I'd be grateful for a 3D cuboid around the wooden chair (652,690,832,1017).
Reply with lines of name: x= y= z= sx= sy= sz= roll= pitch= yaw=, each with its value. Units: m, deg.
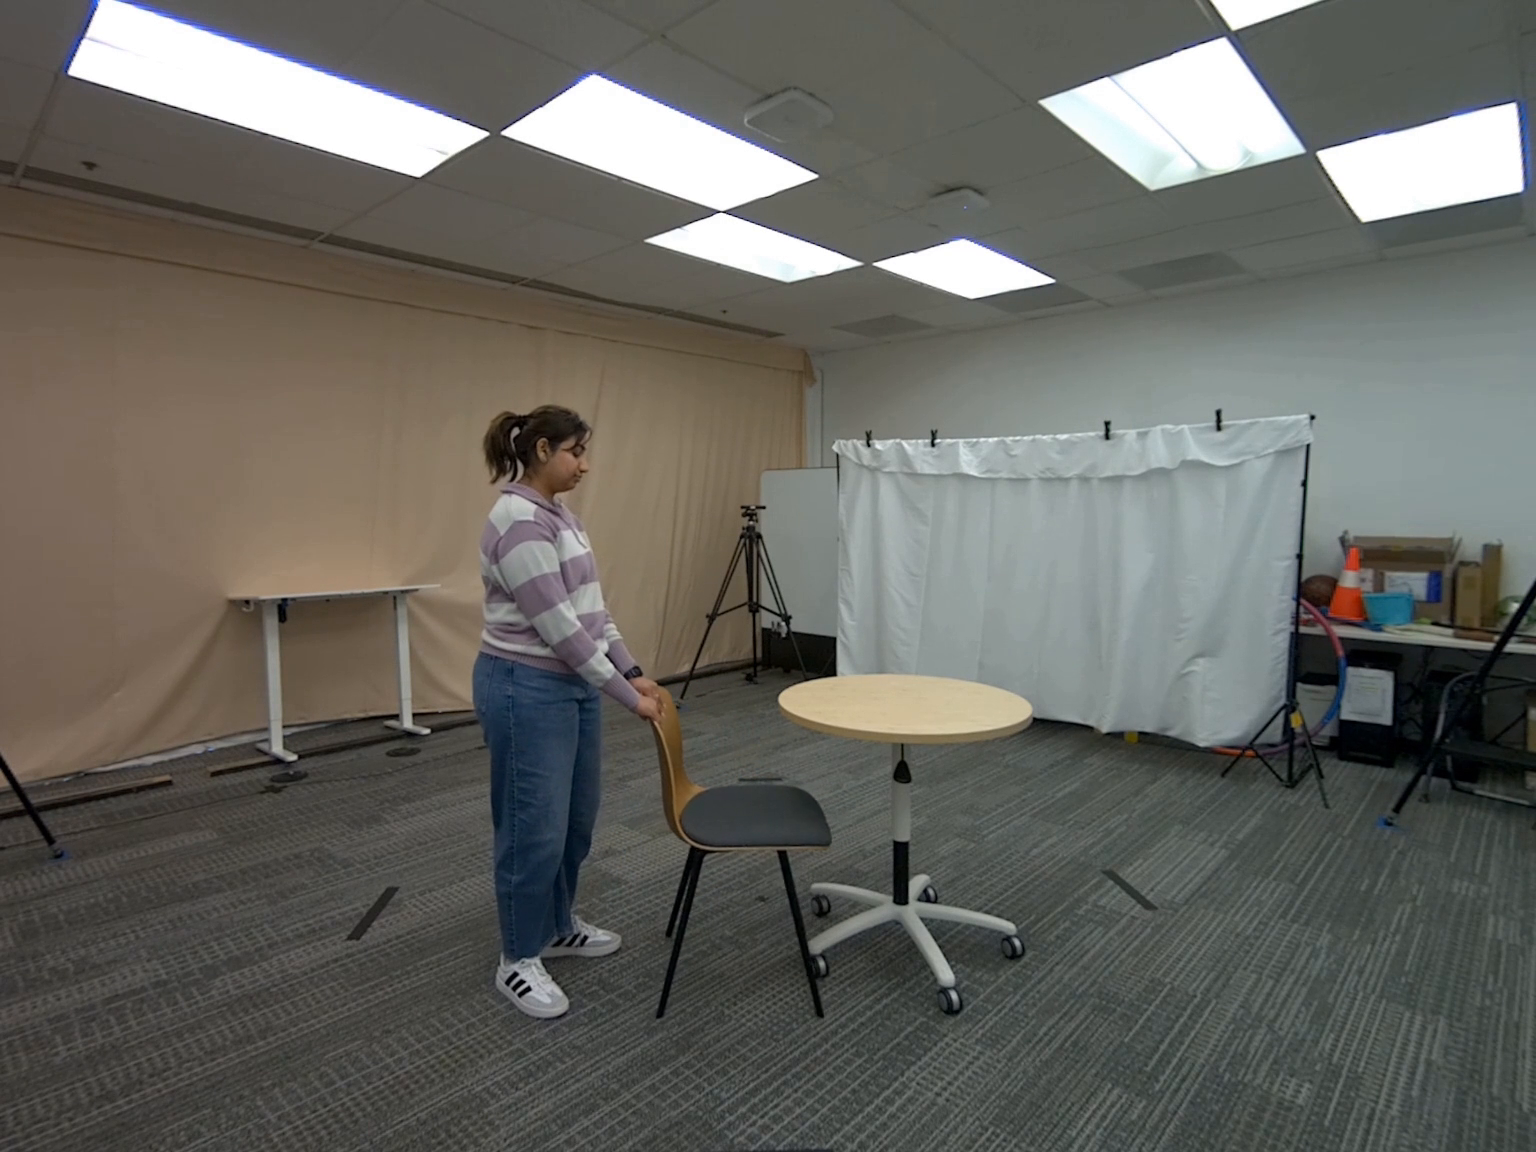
wooden chair: x=-0.084 y=0.756 z=2.483 sx=0.523 sy=0.876 sz=0.479 roll=-5 pitch=3 yaw=-1
